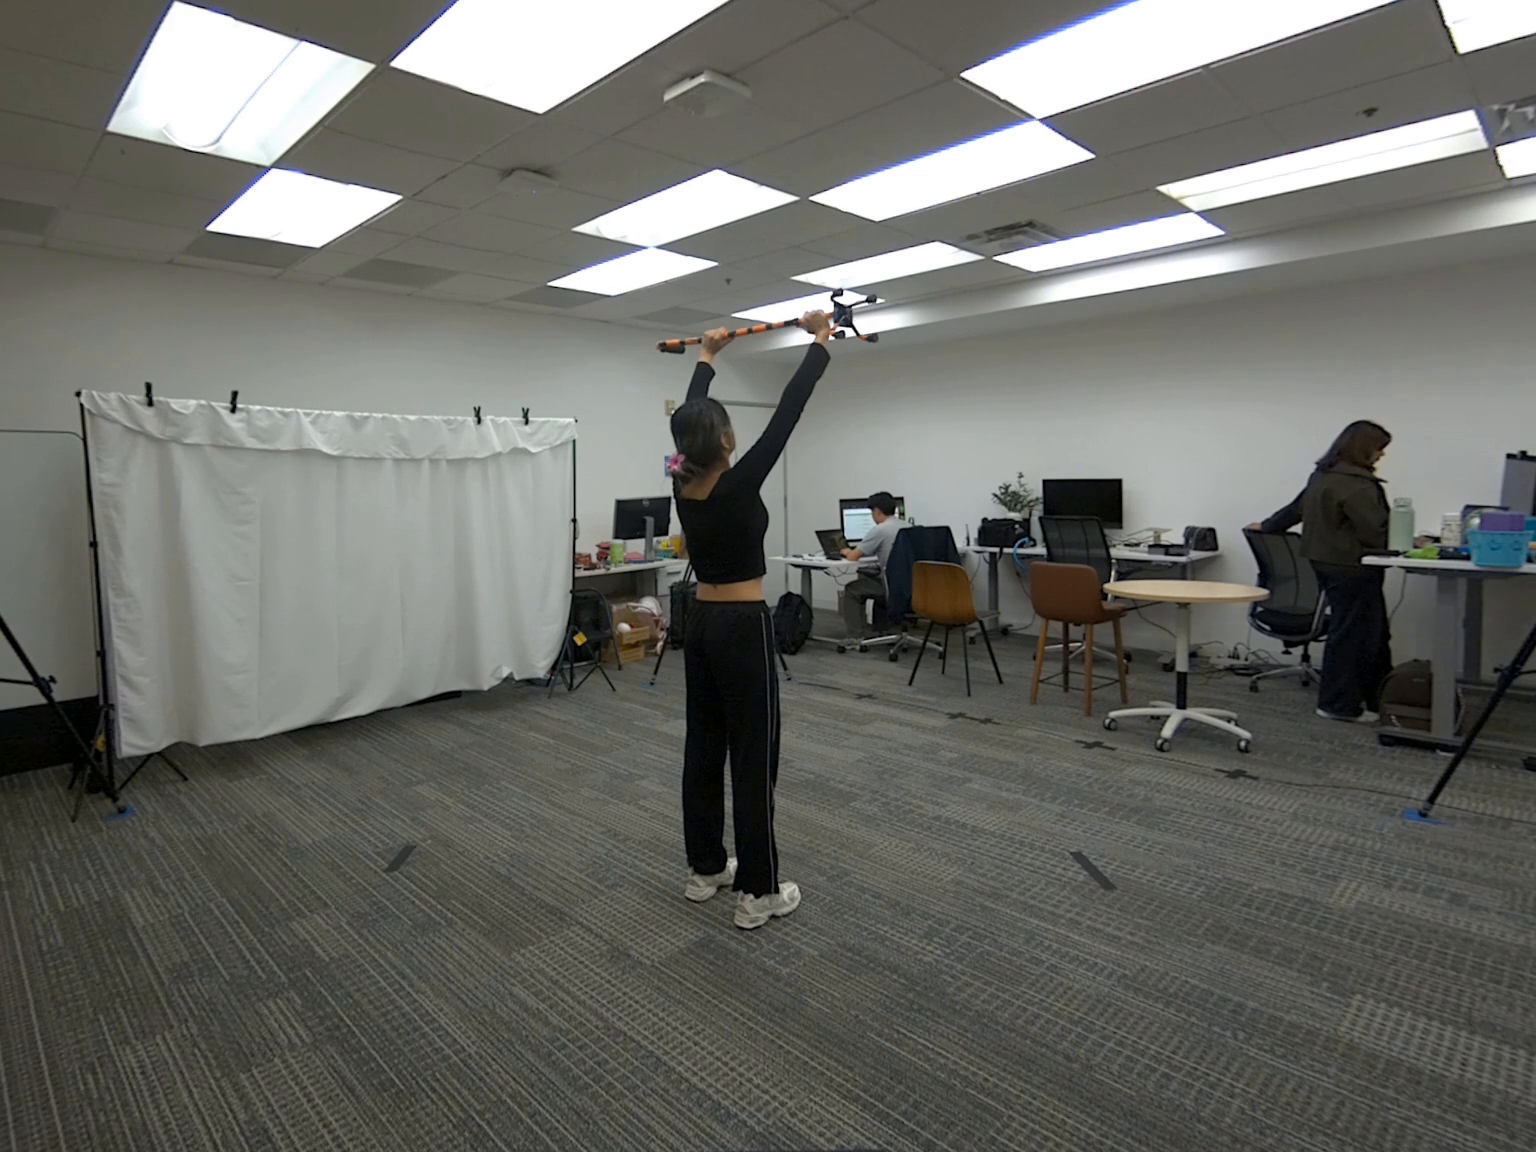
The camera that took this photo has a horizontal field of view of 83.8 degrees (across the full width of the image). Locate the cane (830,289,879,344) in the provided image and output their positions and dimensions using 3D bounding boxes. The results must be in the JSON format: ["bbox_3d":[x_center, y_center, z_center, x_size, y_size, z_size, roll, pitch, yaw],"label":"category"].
[{"bbox_3d":[-0.064,-0.832,2.949,0.936,0.151,0.201,6,9,43],"label":"cane"}]
